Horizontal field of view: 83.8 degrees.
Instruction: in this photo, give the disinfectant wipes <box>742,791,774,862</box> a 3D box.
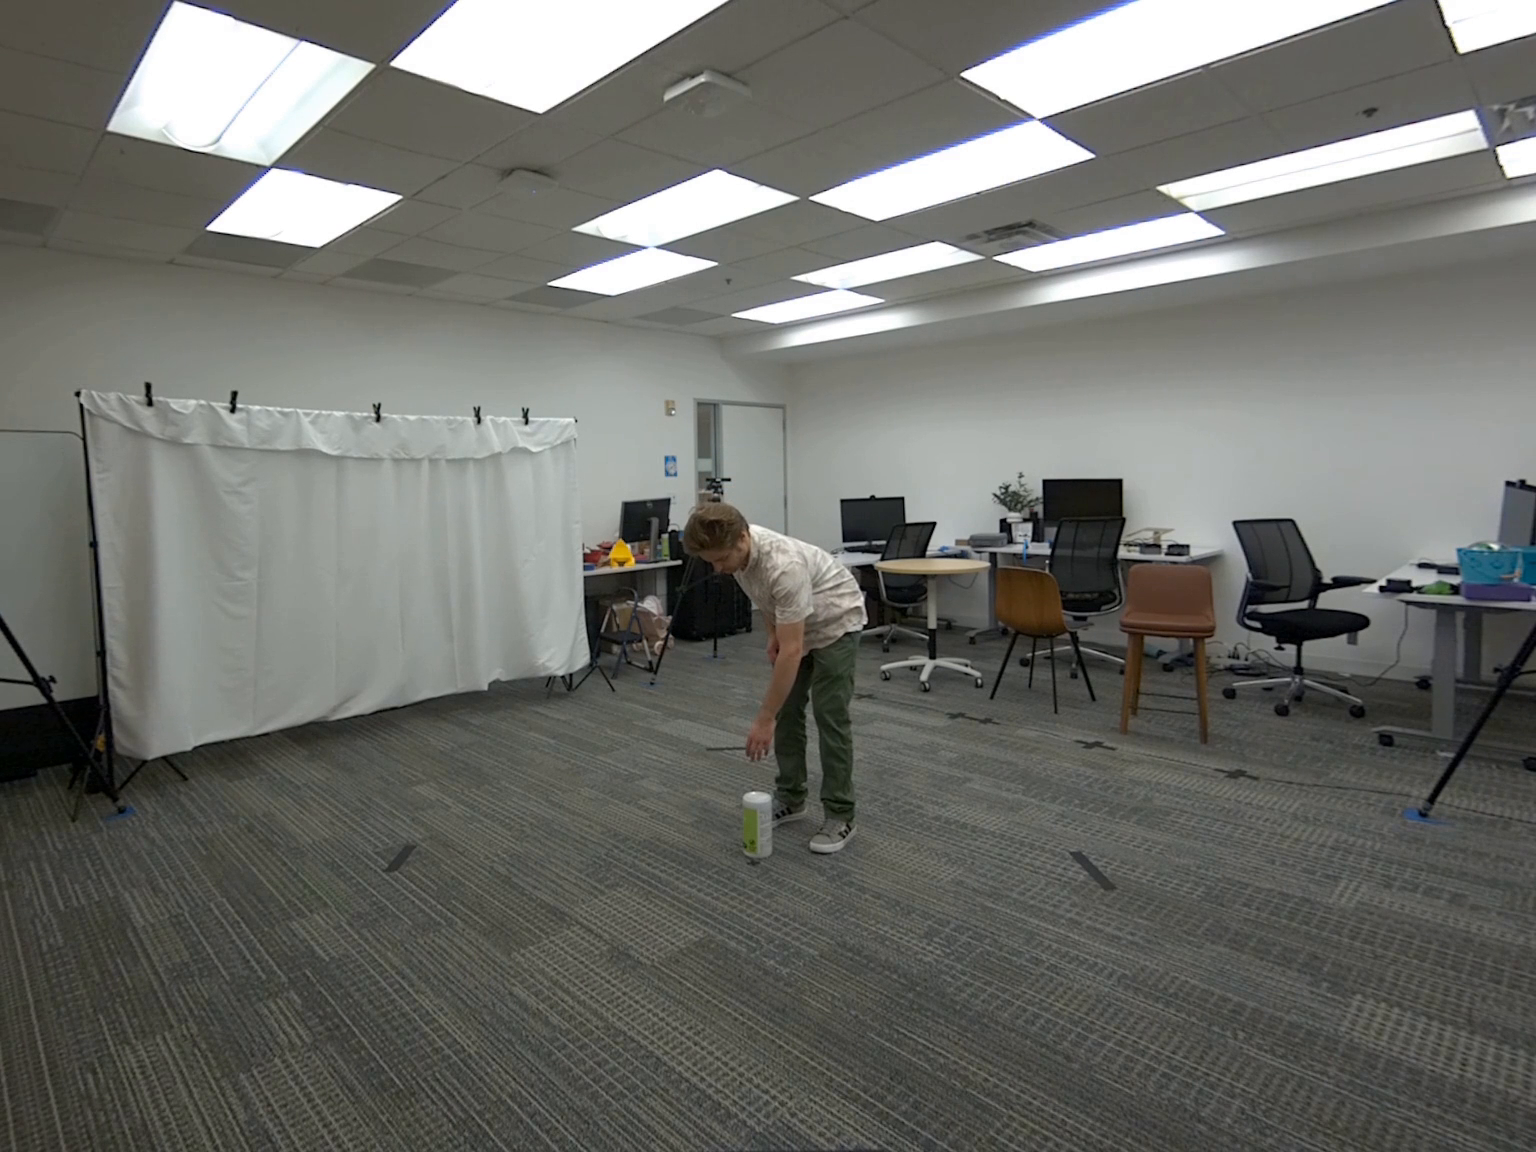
[{"bbox_3d":[-0.036,0.928,3.182,0.118,0.217,0.118,0,4,-2],"label":"disinfectant wipes"}]
